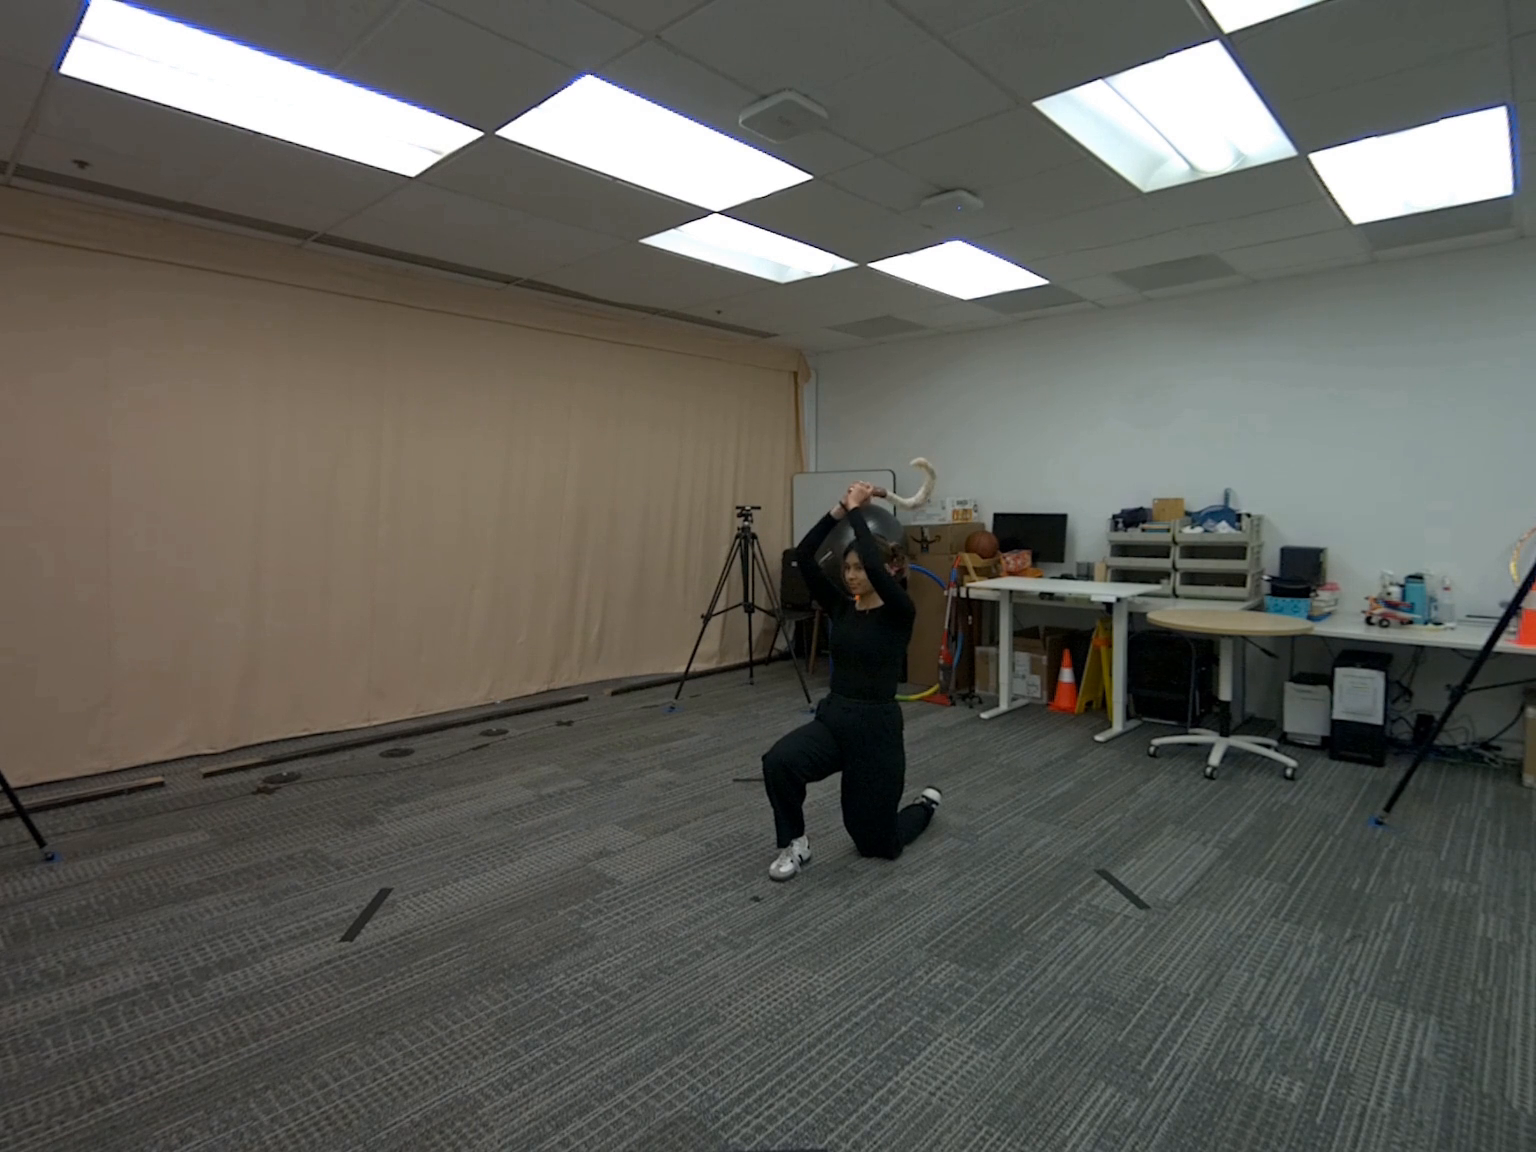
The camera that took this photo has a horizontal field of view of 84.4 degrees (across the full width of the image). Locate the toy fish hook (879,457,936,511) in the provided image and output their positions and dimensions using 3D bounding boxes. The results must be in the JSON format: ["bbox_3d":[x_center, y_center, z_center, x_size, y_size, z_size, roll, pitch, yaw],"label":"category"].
[{"bbox_3d":[0.496,-0.366,3.364,0.490,0.223,0.050,0,16,-42],"label":"toy fish hook"}]
